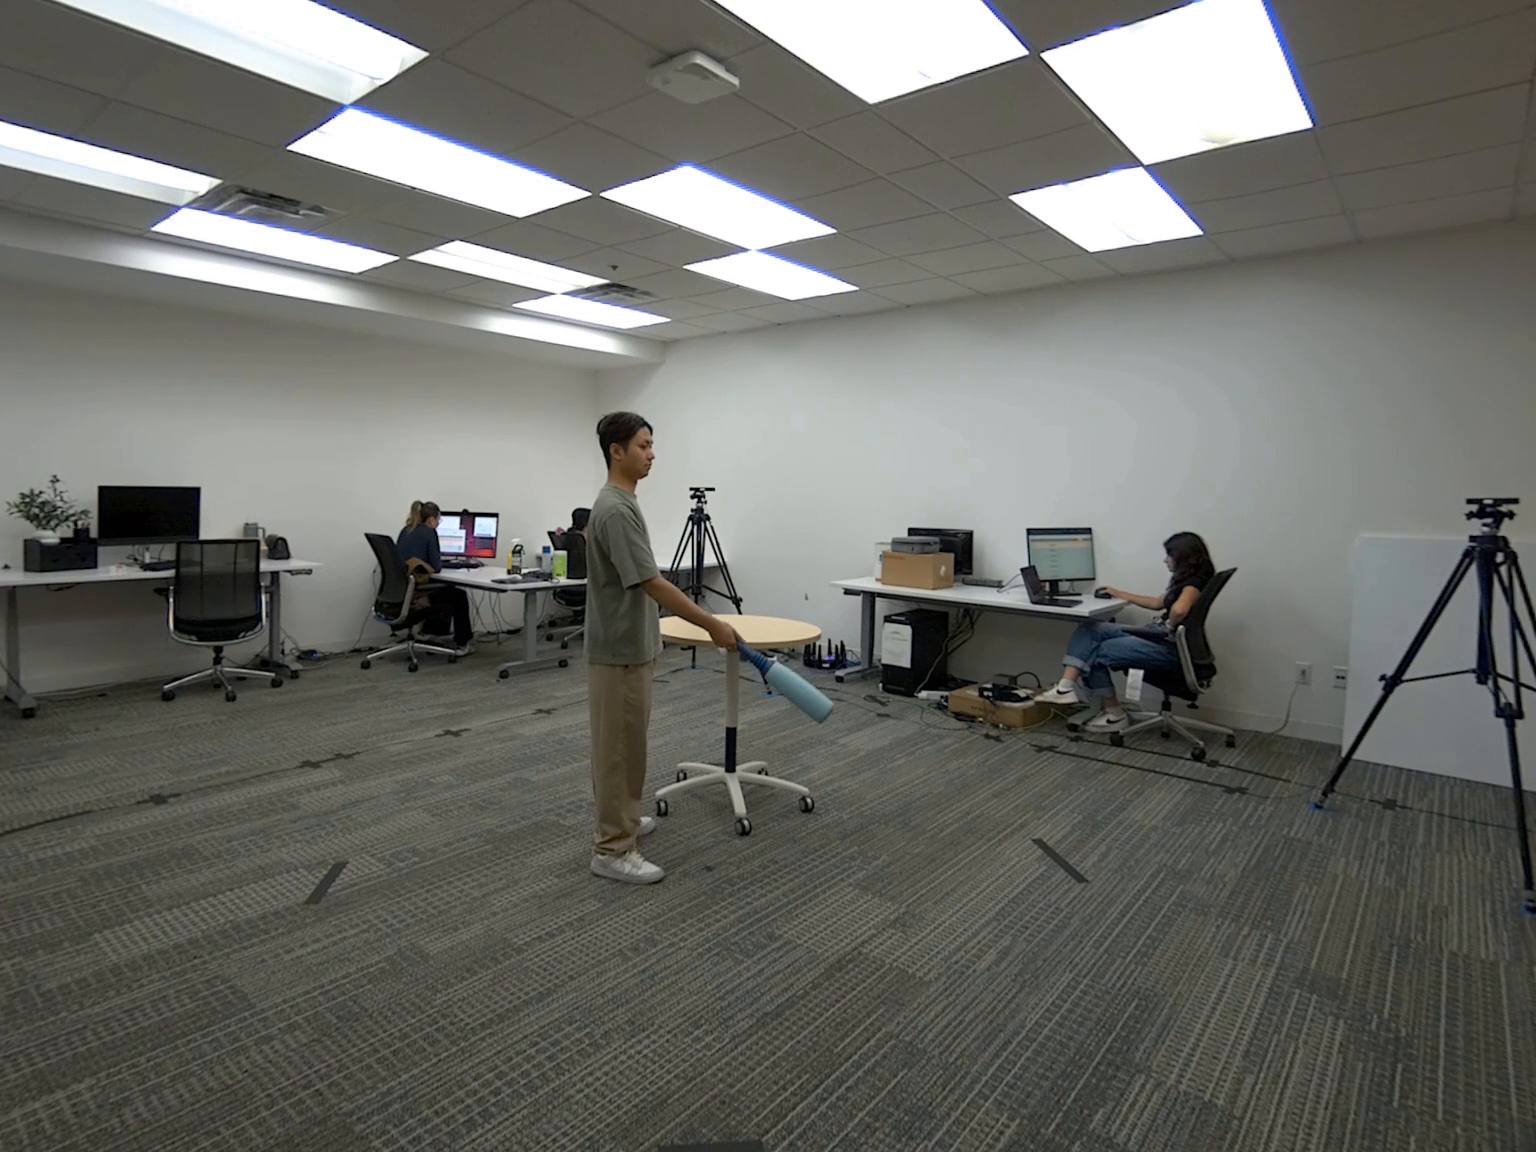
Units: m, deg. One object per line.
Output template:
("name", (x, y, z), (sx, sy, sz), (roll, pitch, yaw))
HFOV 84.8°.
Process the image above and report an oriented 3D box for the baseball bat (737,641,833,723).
("baseball bat", (-0.011, 0.301, 2.929), (0.553, 0.089, 0.087), (36, 12, 13))
